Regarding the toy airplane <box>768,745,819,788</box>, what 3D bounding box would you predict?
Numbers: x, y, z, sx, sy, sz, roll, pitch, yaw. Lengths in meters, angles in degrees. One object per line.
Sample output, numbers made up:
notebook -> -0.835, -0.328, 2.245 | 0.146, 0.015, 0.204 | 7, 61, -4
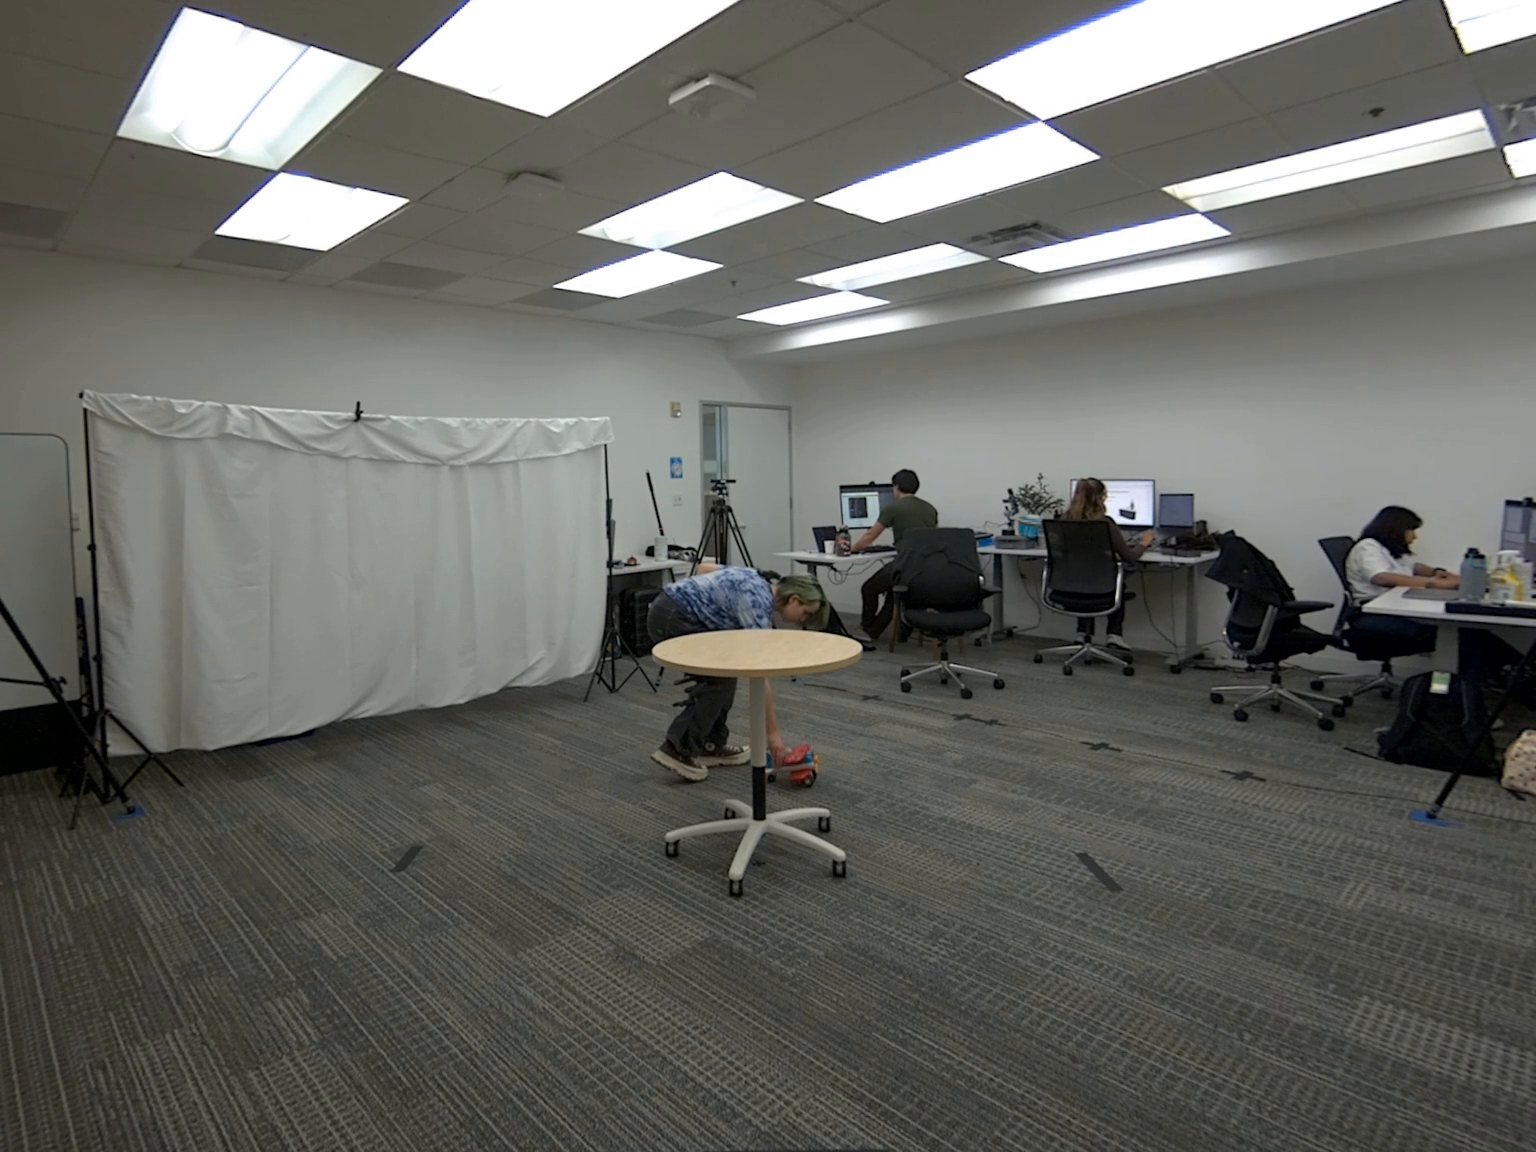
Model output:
toy airplane -> 0.105, 0.883, 3.926 | 0.256, 0.156, 0.255 | -1, 5, -12
